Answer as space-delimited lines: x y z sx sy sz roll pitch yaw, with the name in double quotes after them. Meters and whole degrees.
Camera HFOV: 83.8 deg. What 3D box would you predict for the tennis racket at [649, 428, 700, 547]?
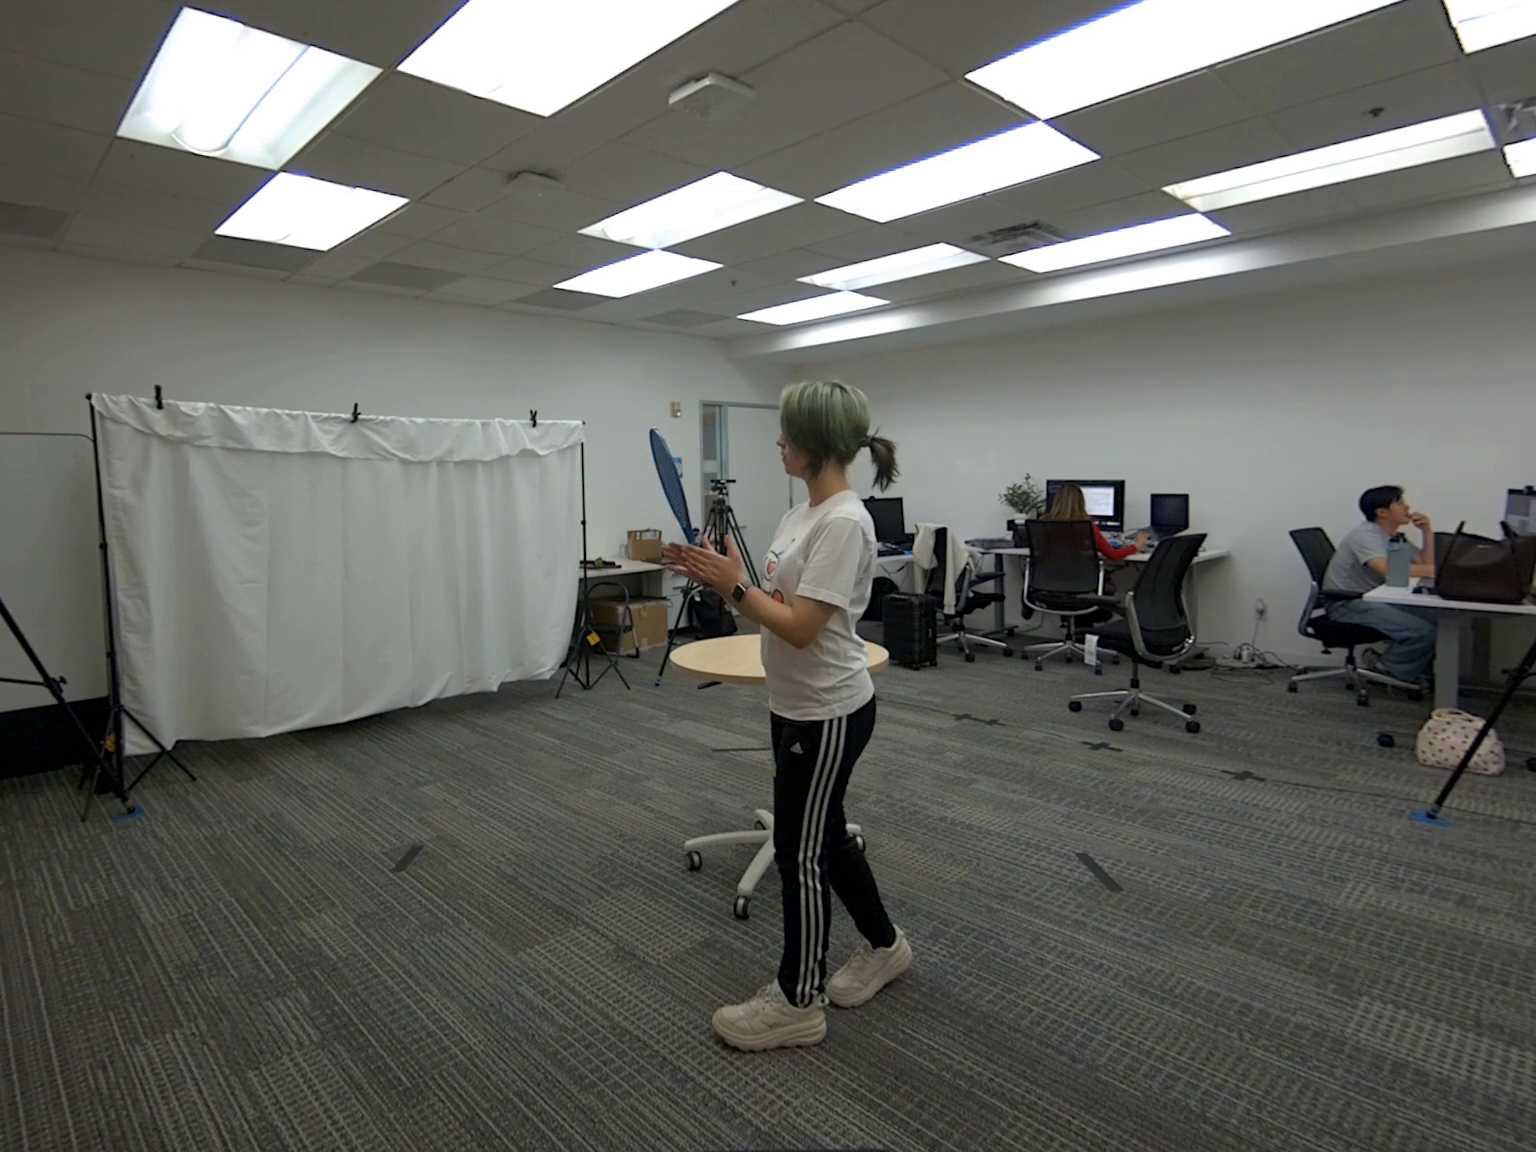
-0.216 -0.173 2.185 0.031 0.430 0.217 -19 7 -13 "tennis racket"
